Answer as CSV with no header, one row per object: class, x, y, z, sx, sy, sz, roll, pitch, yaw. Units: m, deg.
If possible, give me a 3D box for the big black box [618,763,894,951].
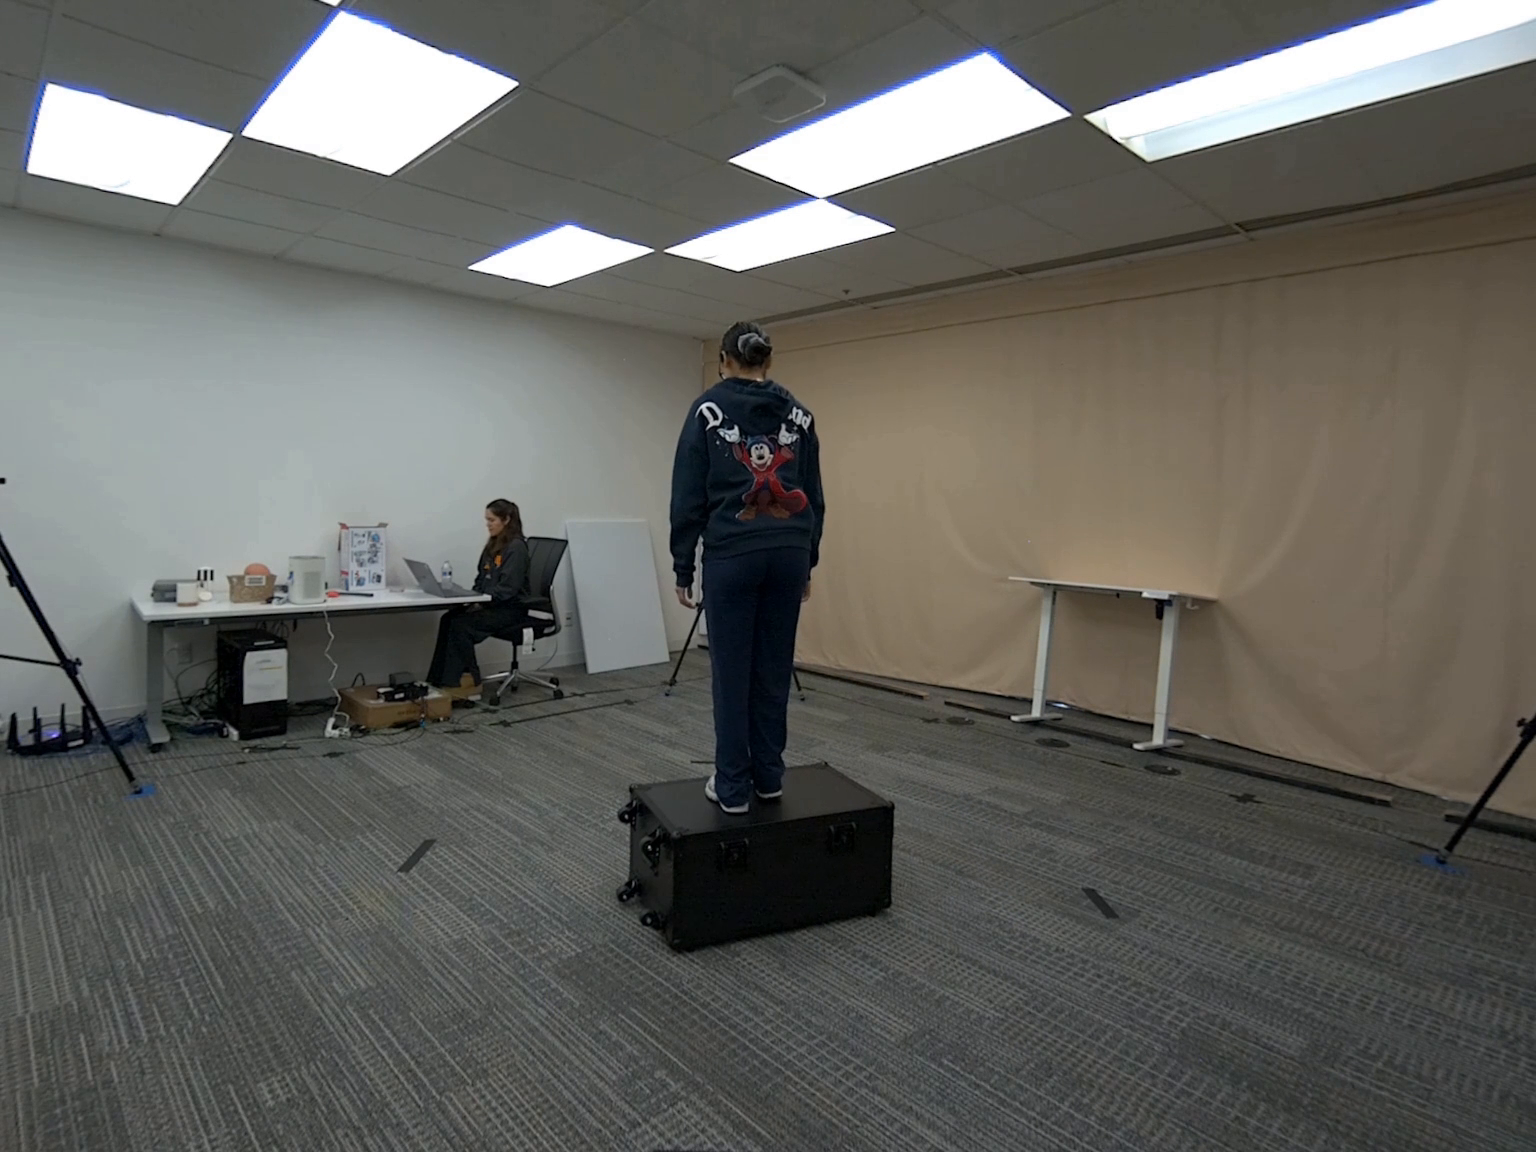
big black box,-0.062,0.948,2.879,0.846,0.520,0.404,-1,3,-26
